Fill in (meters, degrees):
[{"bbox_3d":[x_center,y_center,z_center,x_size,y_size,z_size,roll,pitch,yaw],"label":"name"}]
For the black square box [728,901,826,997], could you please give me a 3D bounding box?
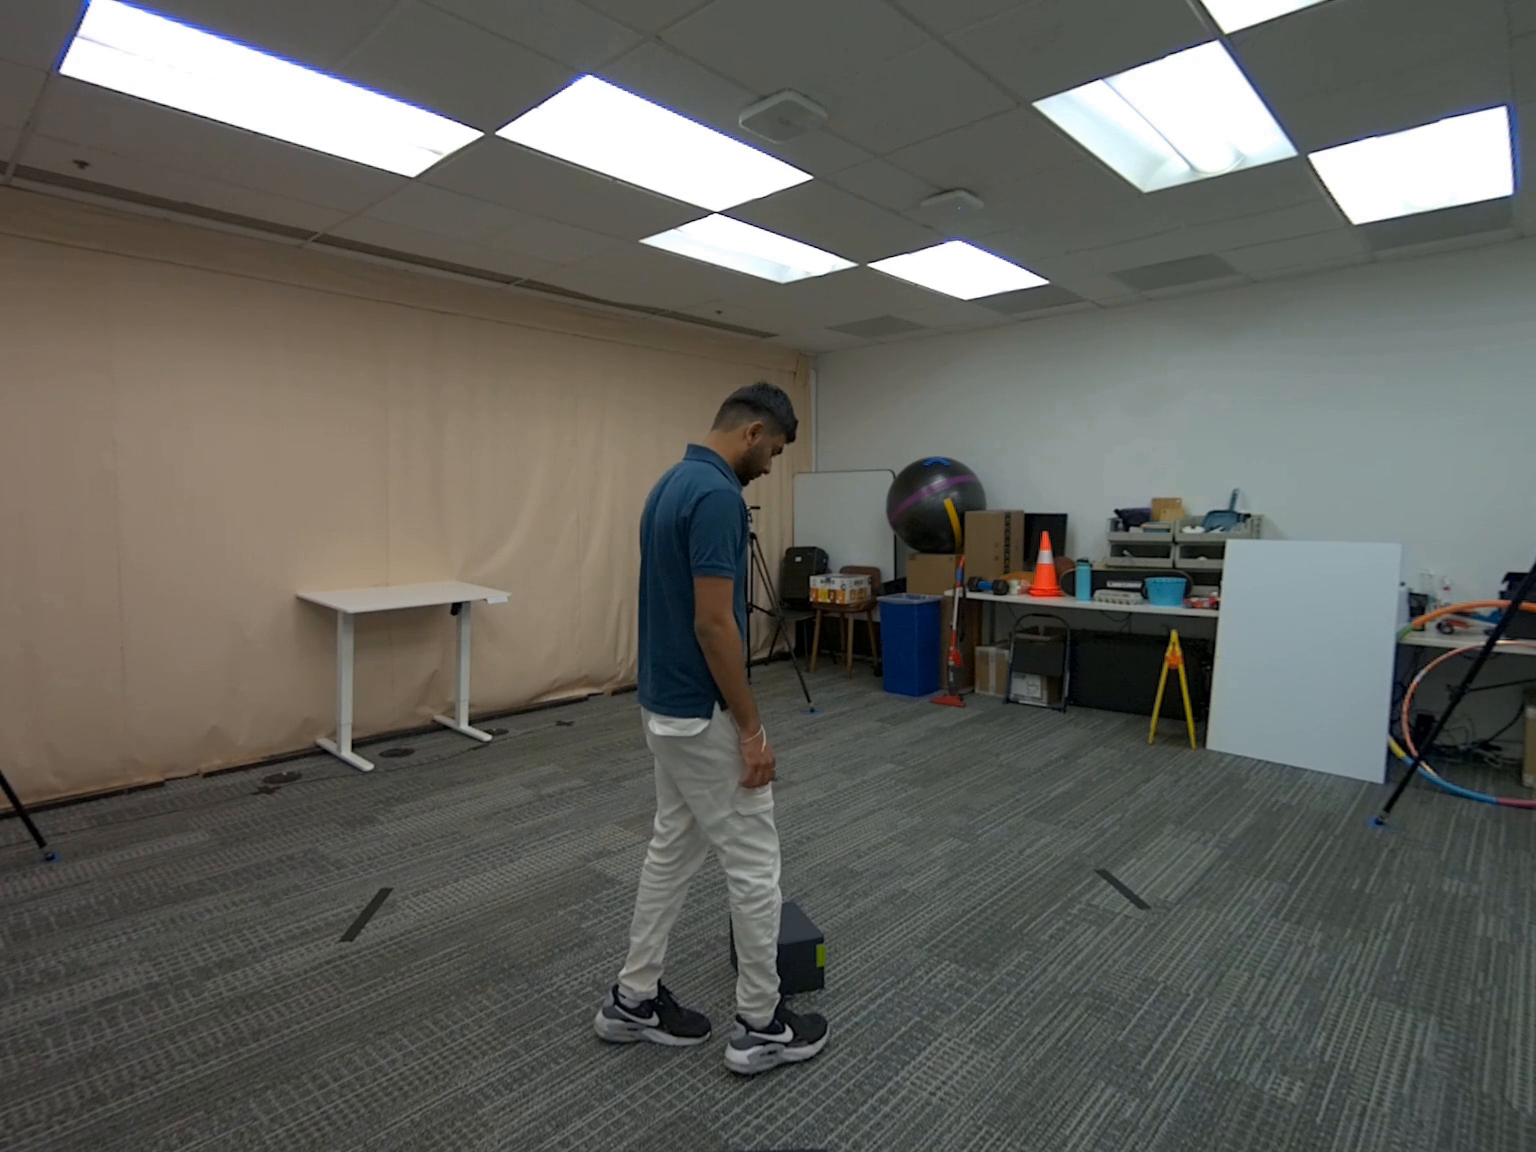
[{"bbox_3d":[0.029,1.104,2.492,0.213,0.155,0.233,-1,5,-20],"label":"black square box"}]
